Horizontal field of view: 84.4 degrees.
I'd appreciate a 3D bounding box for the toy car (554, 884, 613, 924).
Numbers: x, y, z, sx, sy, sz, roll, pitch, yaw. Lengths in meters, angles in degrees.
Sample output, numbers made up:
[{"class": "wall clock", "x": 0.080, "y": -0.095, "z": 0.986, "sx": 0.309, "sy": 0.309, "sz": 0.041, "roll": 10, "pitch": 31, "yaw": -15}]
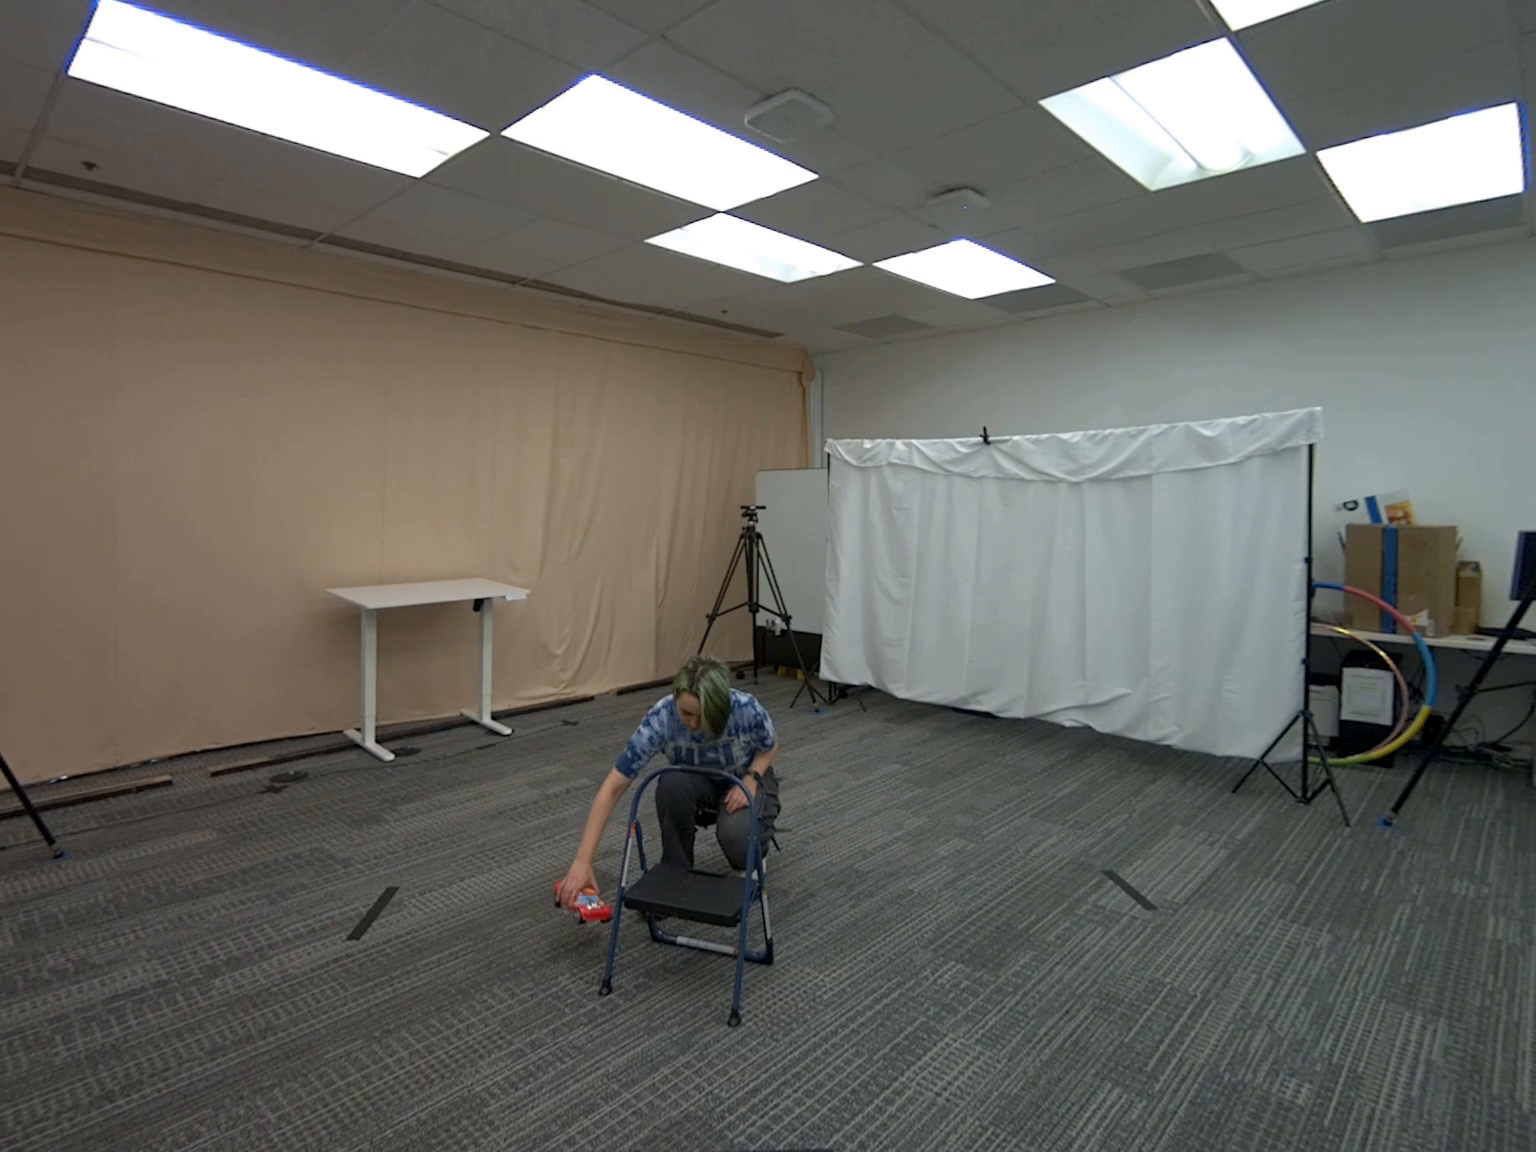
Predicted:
[{"class": "toy car", "x": -0.575, "y": 1.014, "z": 2.625, "sx": 0.126, "sy": 0.083, "sz": 0.263, "roll": 12, "pitch": 4, "yaw": -37}]
